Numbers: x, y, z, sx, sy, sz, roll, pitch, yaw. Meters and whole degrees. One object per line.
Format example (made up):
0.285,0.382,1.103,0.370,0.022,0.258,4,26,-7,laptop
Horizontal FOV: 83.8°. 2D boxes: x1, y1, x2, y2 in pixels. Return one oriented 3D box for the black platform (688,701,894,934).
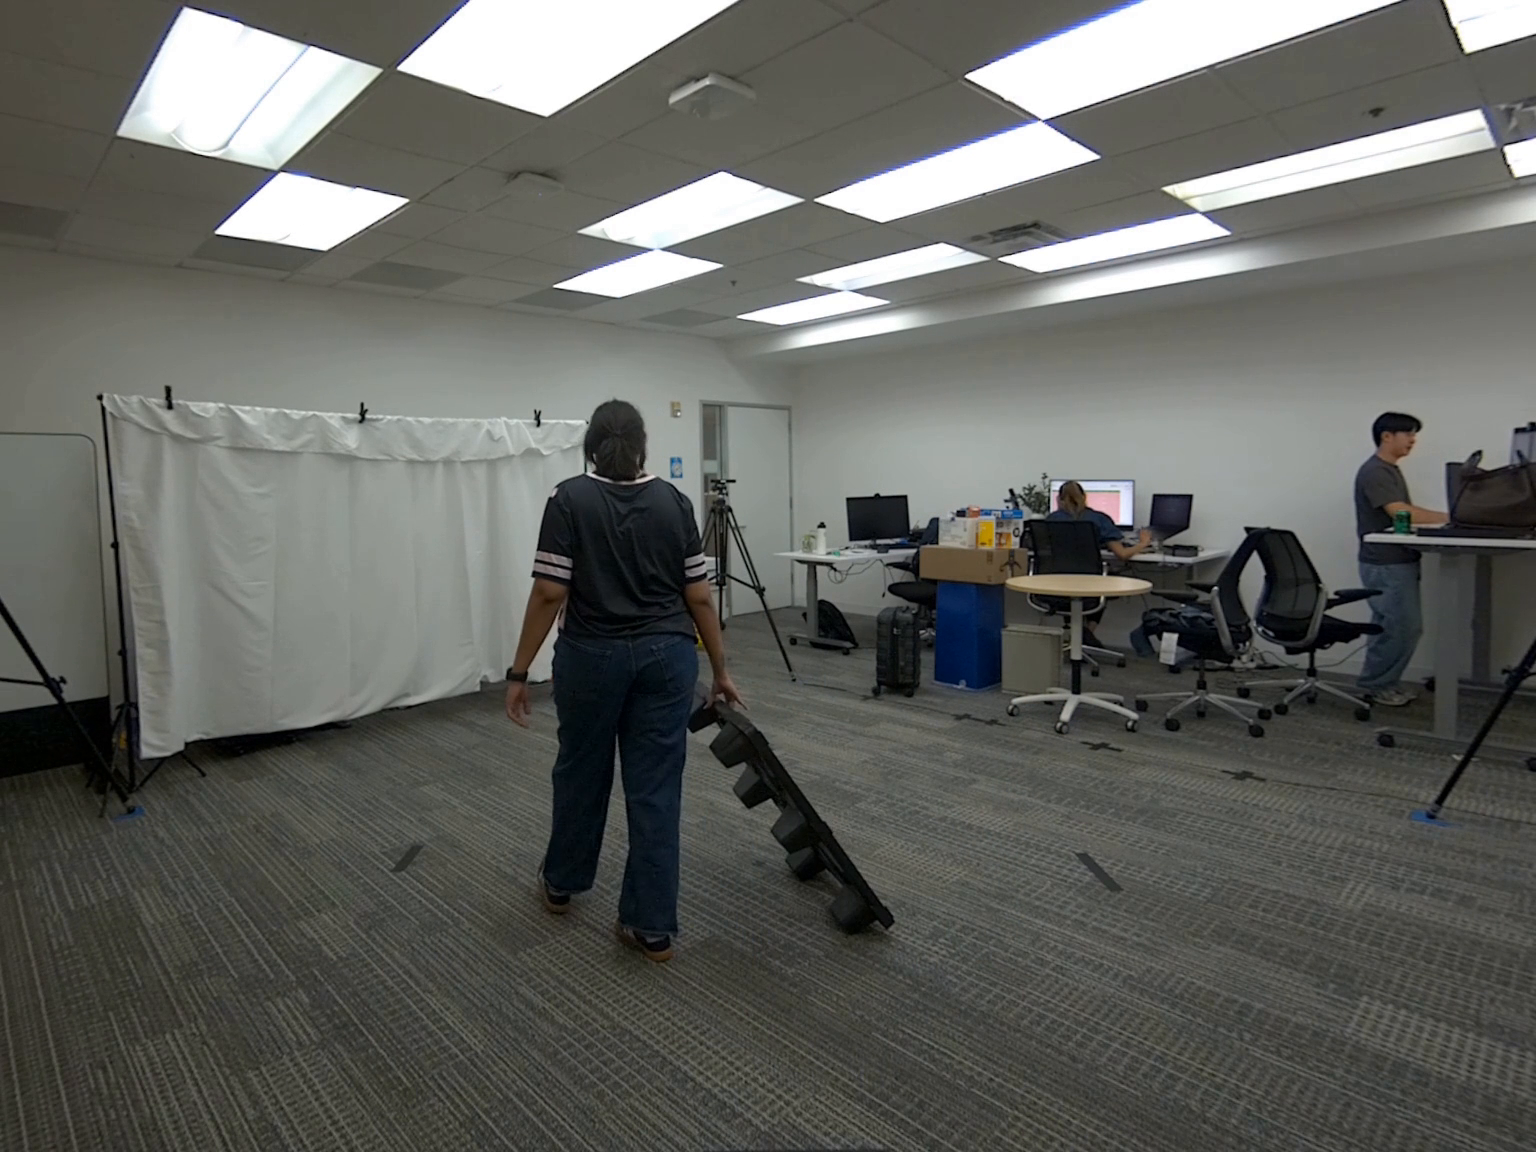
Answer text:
0.028,0.745,2.770,0.143,0.793,0.617,-36,13,-13,black platform
